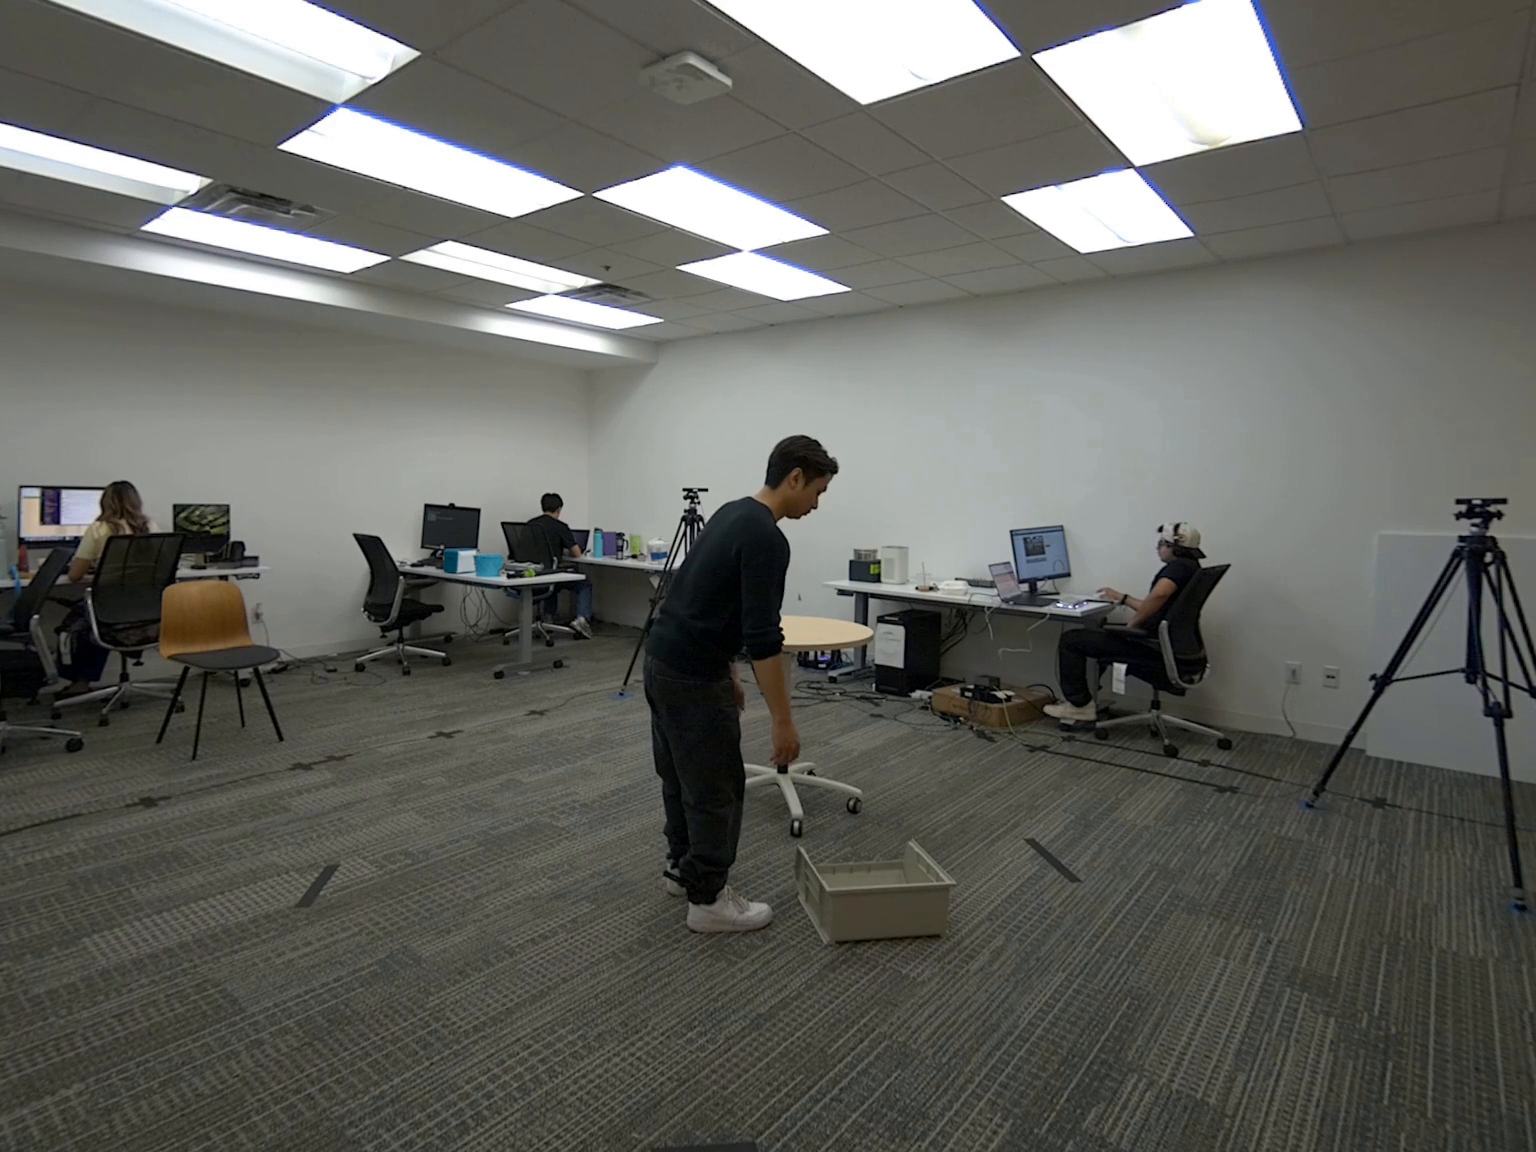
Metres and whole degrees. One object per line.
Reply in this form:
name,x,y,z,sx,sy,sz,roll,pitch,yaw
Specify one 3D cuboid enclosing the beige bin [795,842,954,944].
beige bin,0.331,1.028,2.799,0.417,0.188,0.384,1,5,-12
